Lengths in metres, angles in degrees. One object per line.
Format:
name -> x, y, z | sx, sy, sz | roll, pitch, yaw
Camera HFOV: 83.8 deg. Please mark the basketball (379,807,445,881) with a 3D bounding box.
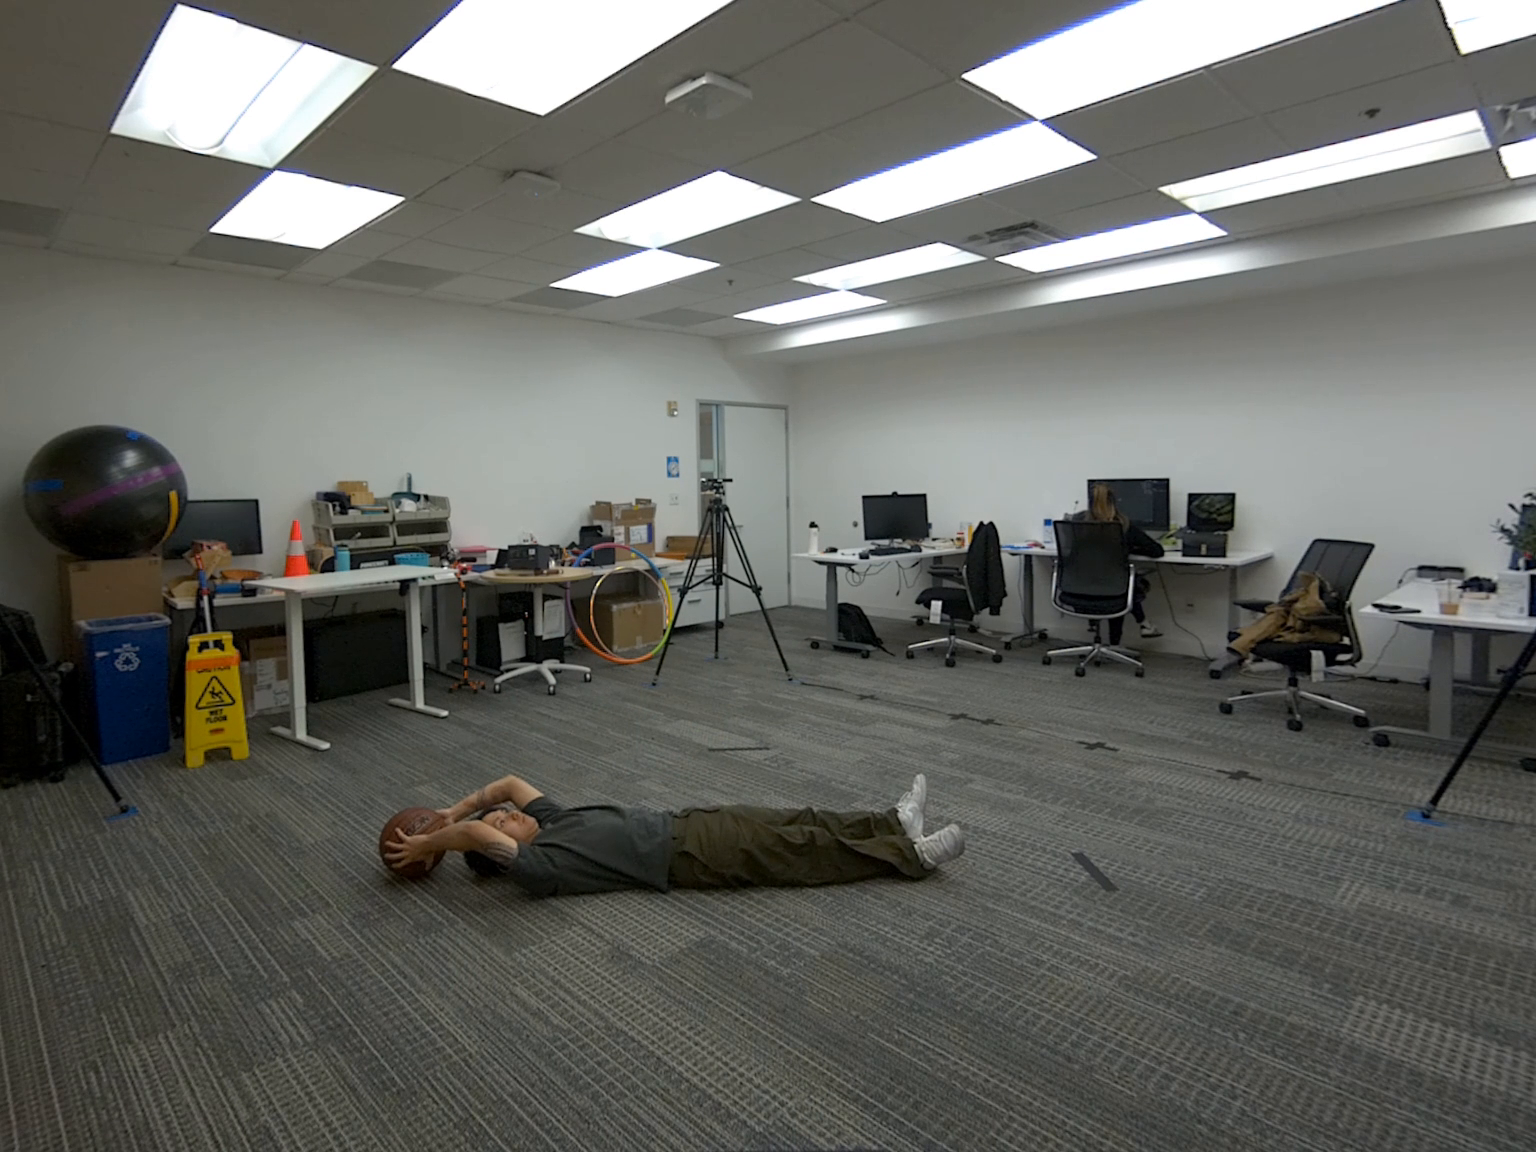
basketball -> -1.279, 0.950, 3.075 | 0.236, 0.235, 0.237 | -1, 5, -2
